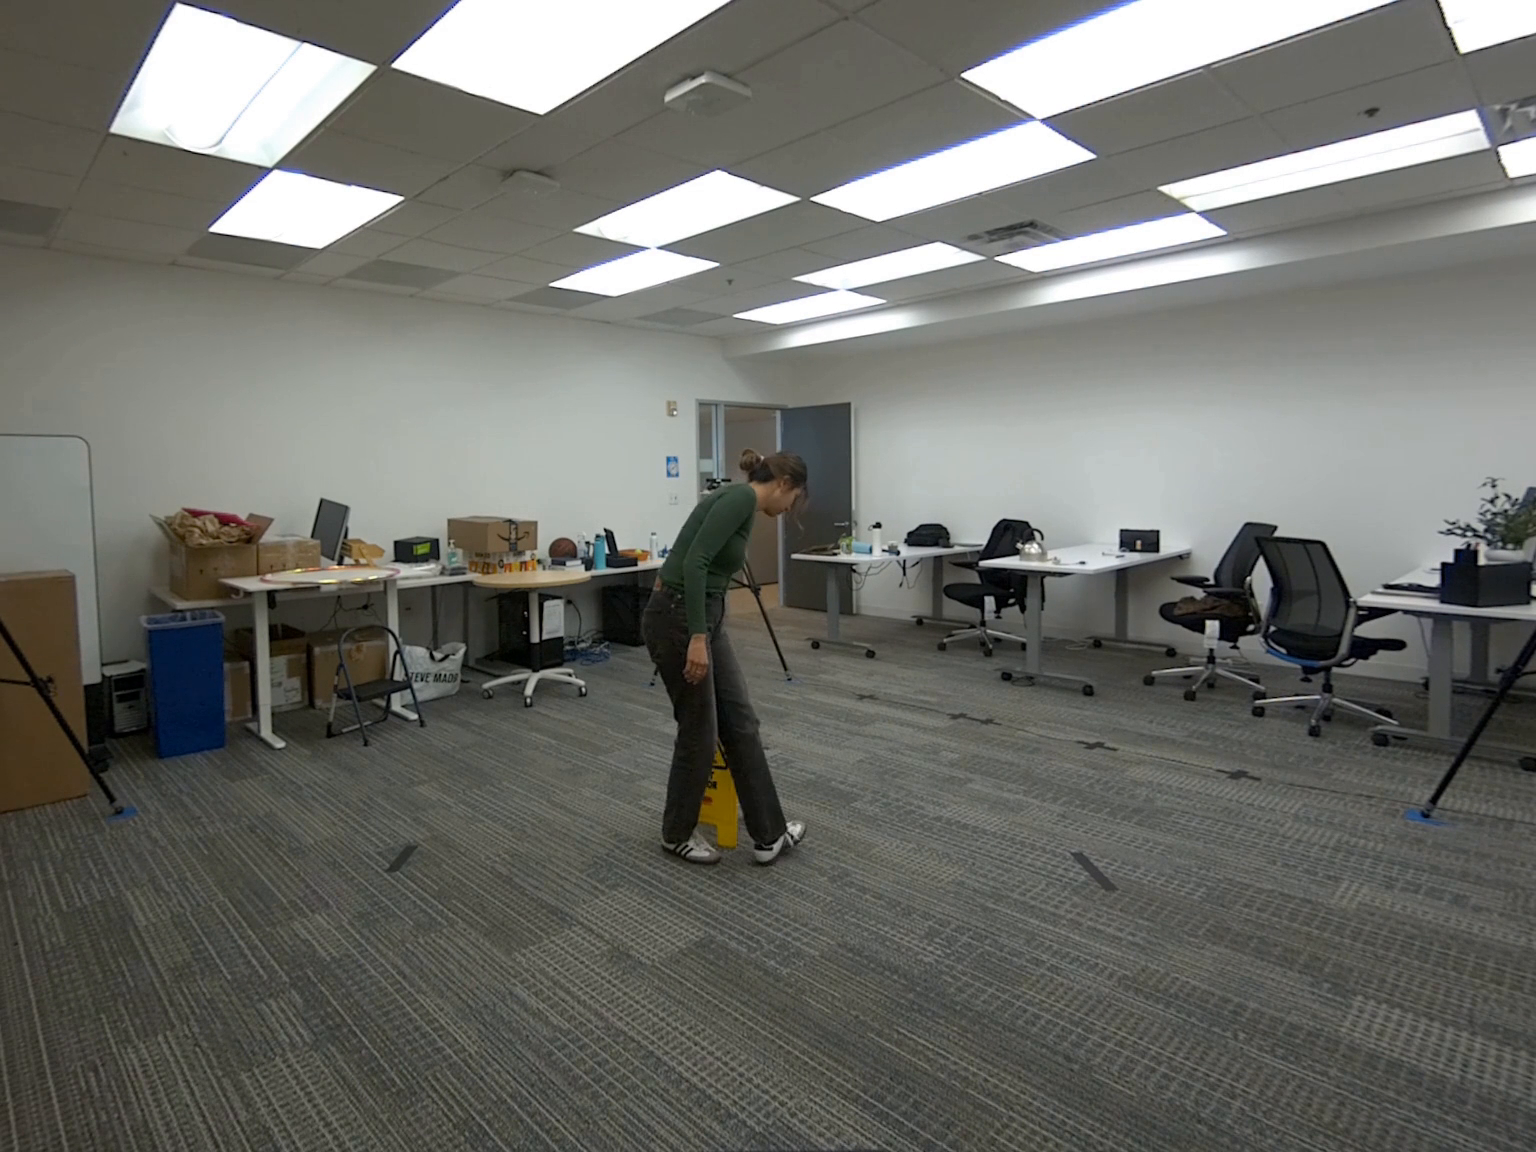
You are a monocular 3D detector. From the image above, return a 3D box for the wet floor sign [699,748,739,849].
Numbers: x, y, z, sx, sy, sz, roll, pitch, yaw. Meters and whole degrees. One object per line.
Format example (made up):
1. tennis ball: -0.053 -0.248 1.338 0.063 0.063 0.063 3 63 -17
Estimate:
1. wet floor sign: -0.211 0.689 3.403 0.288 0.644 0.285 0 4 20
